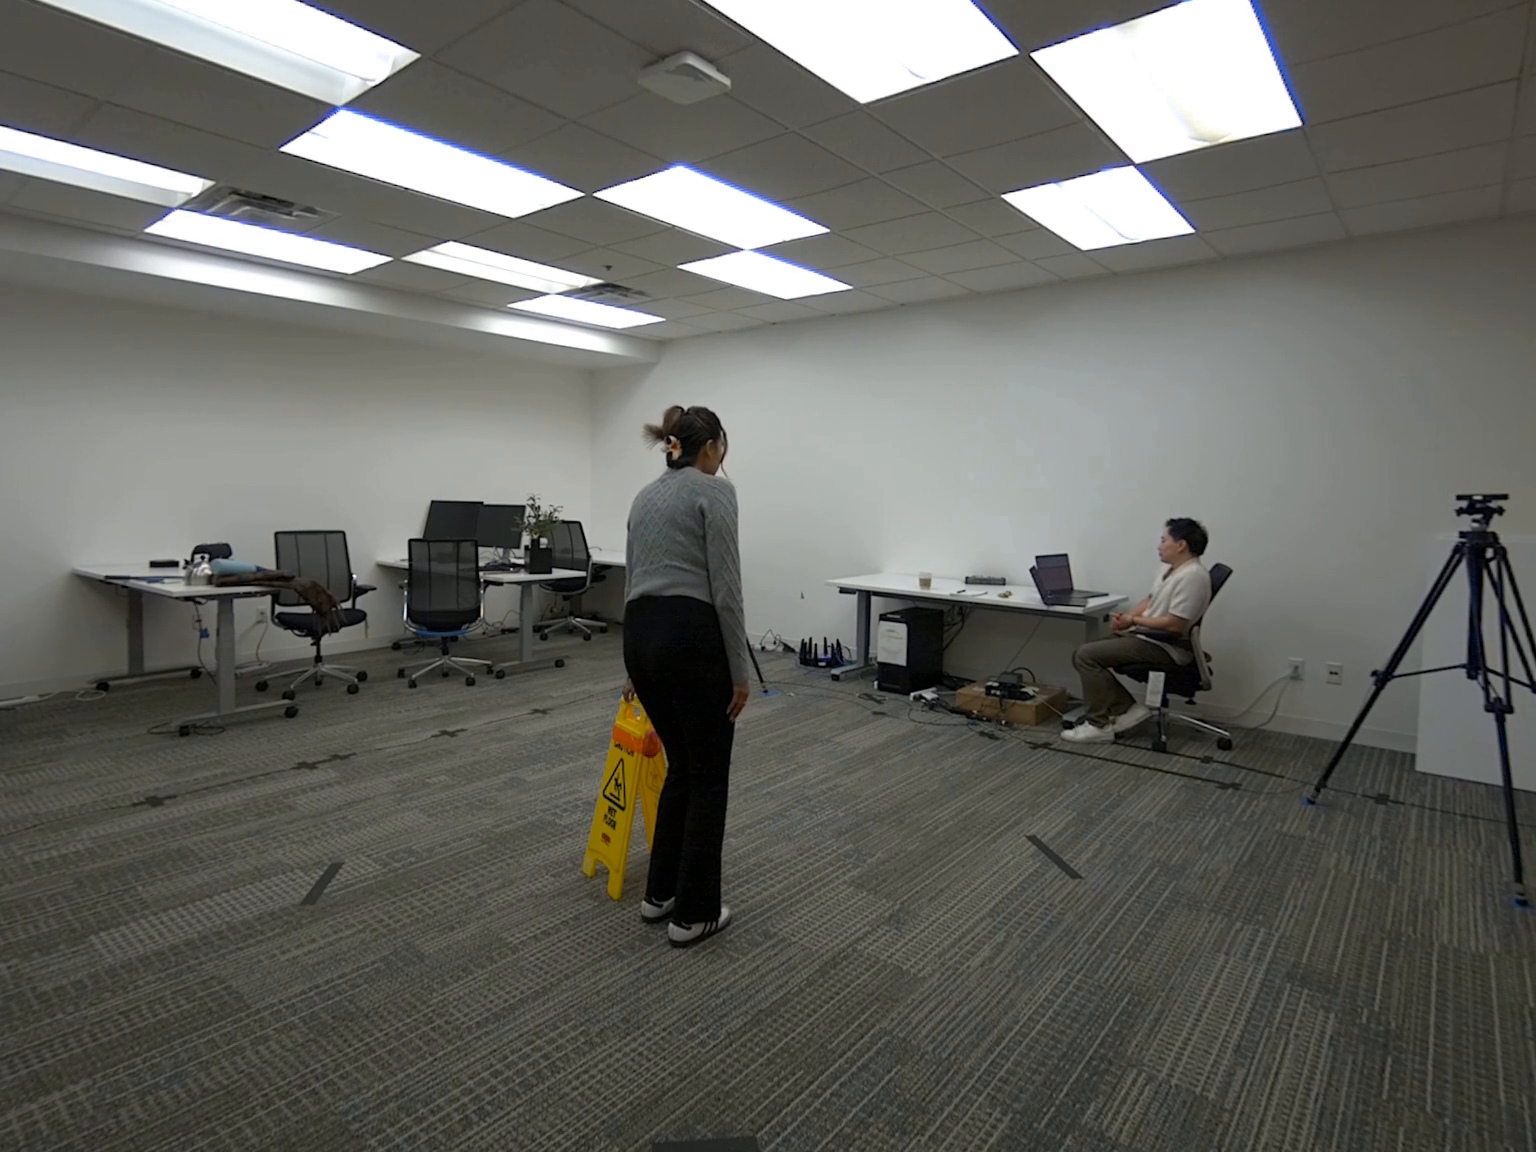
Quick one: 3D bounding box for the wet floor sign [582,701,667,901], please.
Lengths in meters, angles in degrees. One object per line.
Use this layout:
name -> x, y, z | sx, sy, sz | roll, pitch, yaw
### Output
wet floor sign -> -0.478, 0.746, 3.028 | 0.281, 0.644, 0.291 | -1, 4, -36
